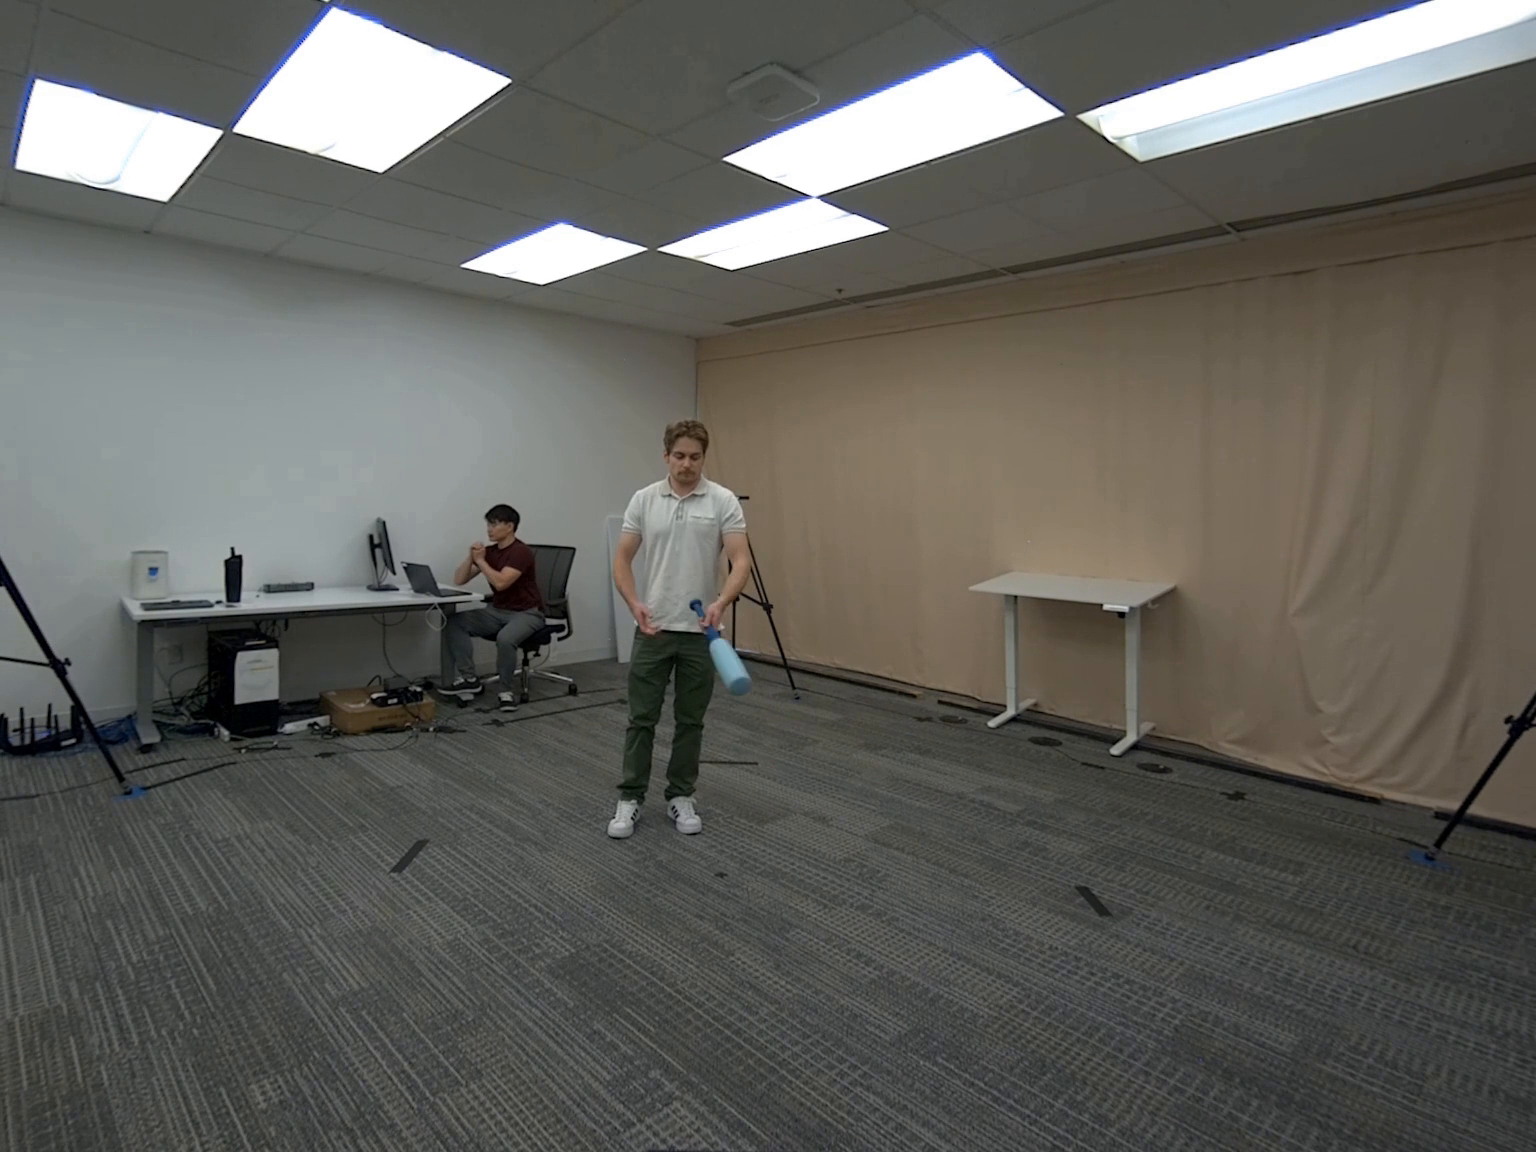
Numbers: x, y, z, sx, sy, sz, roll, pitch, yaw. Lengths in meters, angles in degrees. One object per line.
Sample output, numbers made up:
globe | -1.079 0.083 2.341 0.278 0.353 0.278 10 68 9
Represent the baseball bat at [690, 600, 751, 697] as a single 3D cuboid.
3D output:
baseball bat | -0.199 0.258 3.068 0.087 0.088 0.560 -1 28 -25
